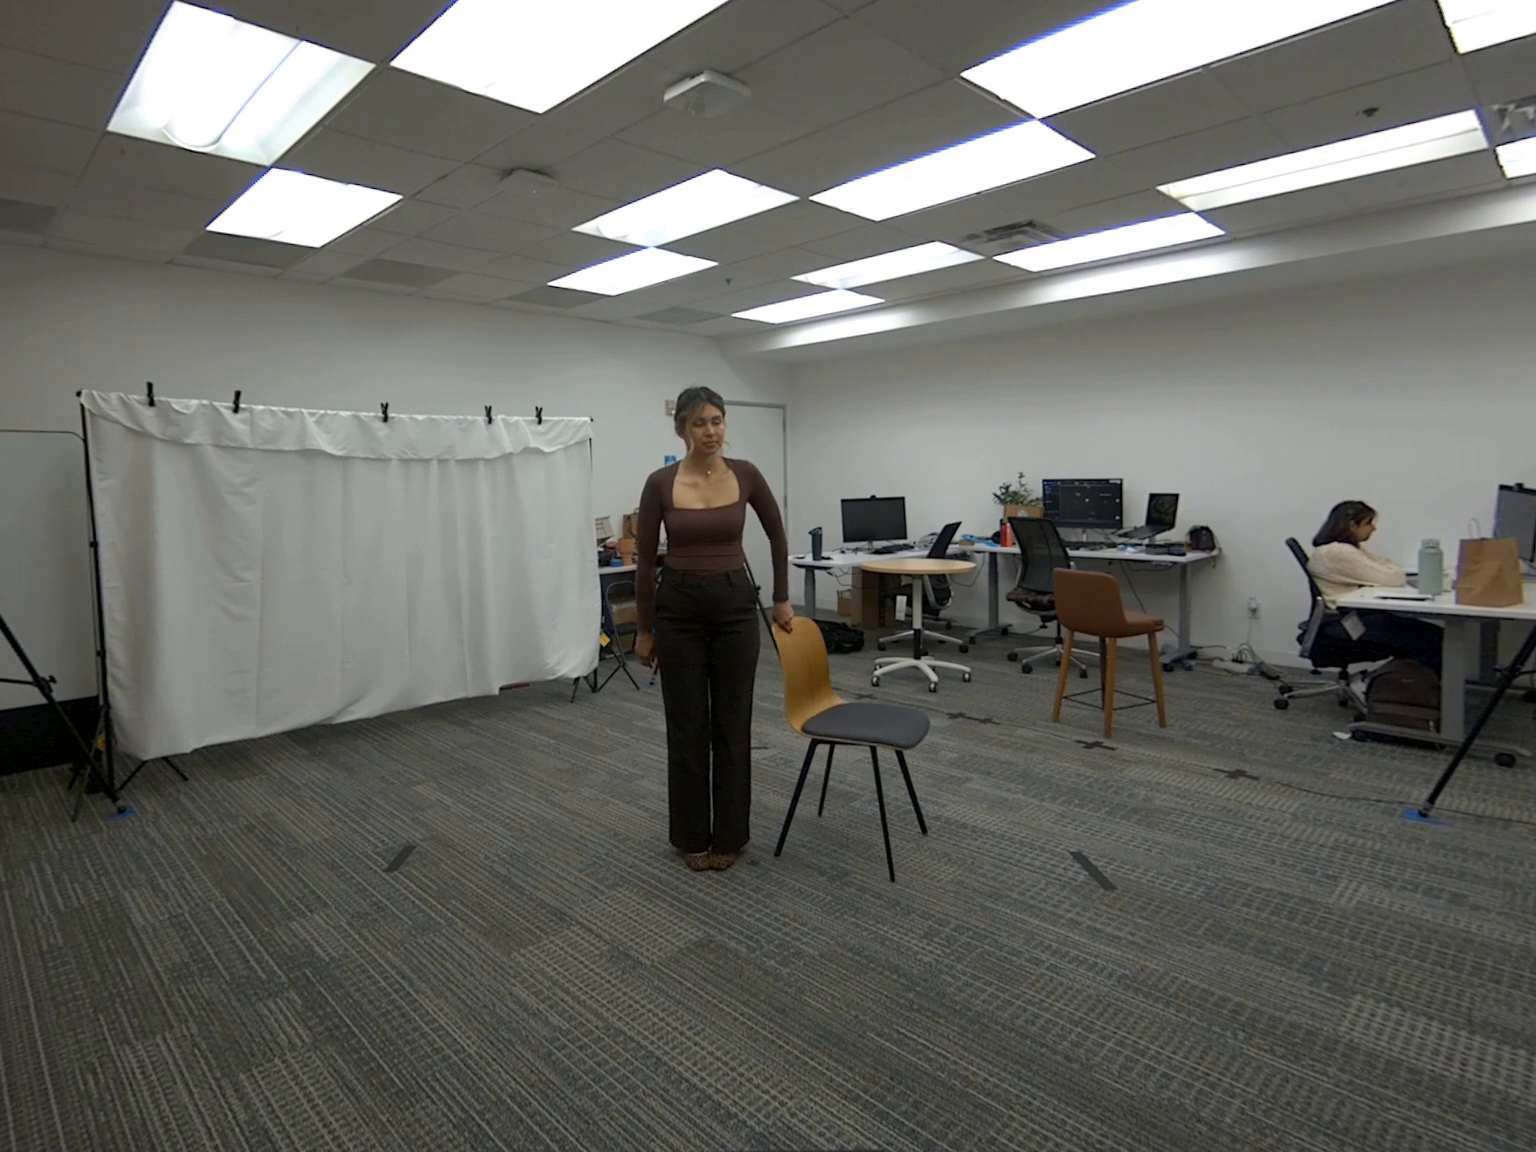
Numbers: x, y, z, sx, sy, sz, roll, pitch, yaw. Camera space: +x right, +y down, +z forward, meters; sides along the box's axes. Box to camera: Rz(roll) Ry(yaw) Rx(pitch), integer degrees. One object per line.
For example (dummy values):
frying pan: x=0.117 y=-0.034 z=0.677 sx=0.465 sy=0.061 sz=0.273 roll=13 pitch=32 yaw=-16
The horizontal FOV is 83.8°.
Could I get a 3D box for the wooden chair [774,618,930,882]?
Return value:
wooden chair: x=0.321 y=0.594 z=3.209 sx=0.535 sy=0.876 sz=0.468 roll=-4 pitch=2 yaw=28
